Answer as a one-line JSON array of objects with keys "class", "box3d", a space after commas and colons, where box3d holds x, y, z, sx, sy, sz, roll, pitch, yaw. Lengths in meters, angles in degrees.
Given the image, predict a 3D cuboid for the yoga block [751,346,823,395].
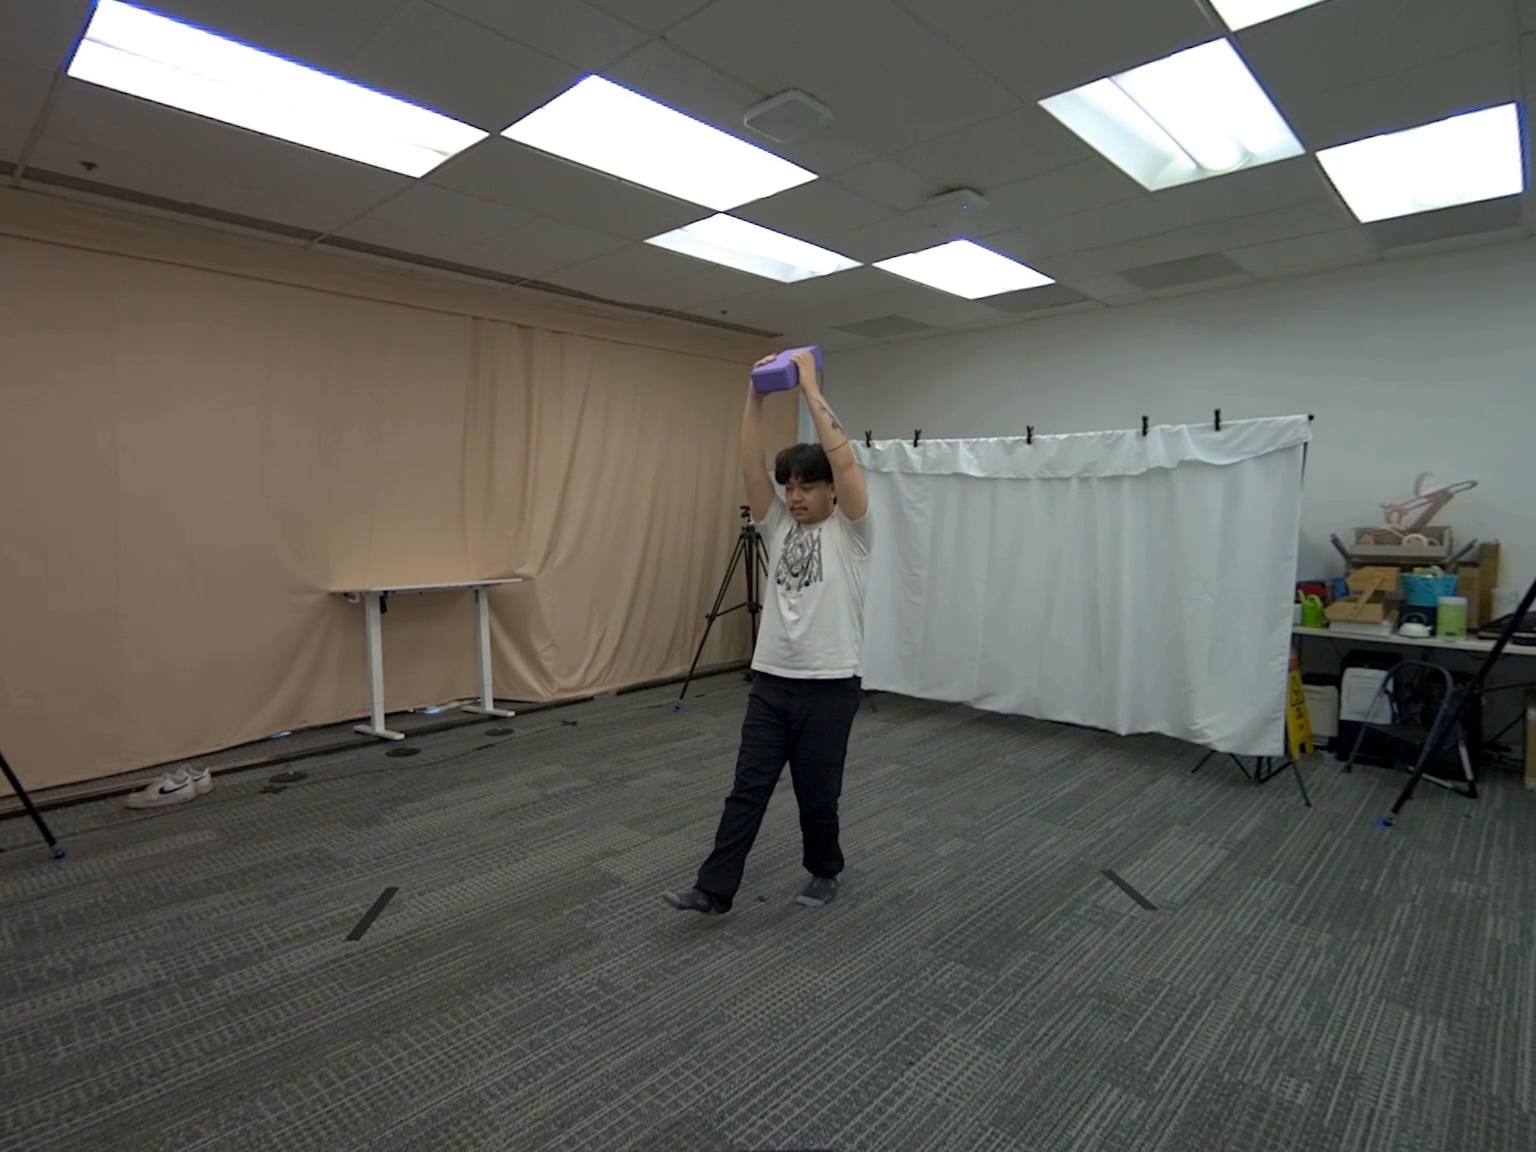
[{"class": "yoga block", "box3d": [0.063, -0.685, 2.807, 0.154, 0.075, 0.227, 3, 33, 37]}]
